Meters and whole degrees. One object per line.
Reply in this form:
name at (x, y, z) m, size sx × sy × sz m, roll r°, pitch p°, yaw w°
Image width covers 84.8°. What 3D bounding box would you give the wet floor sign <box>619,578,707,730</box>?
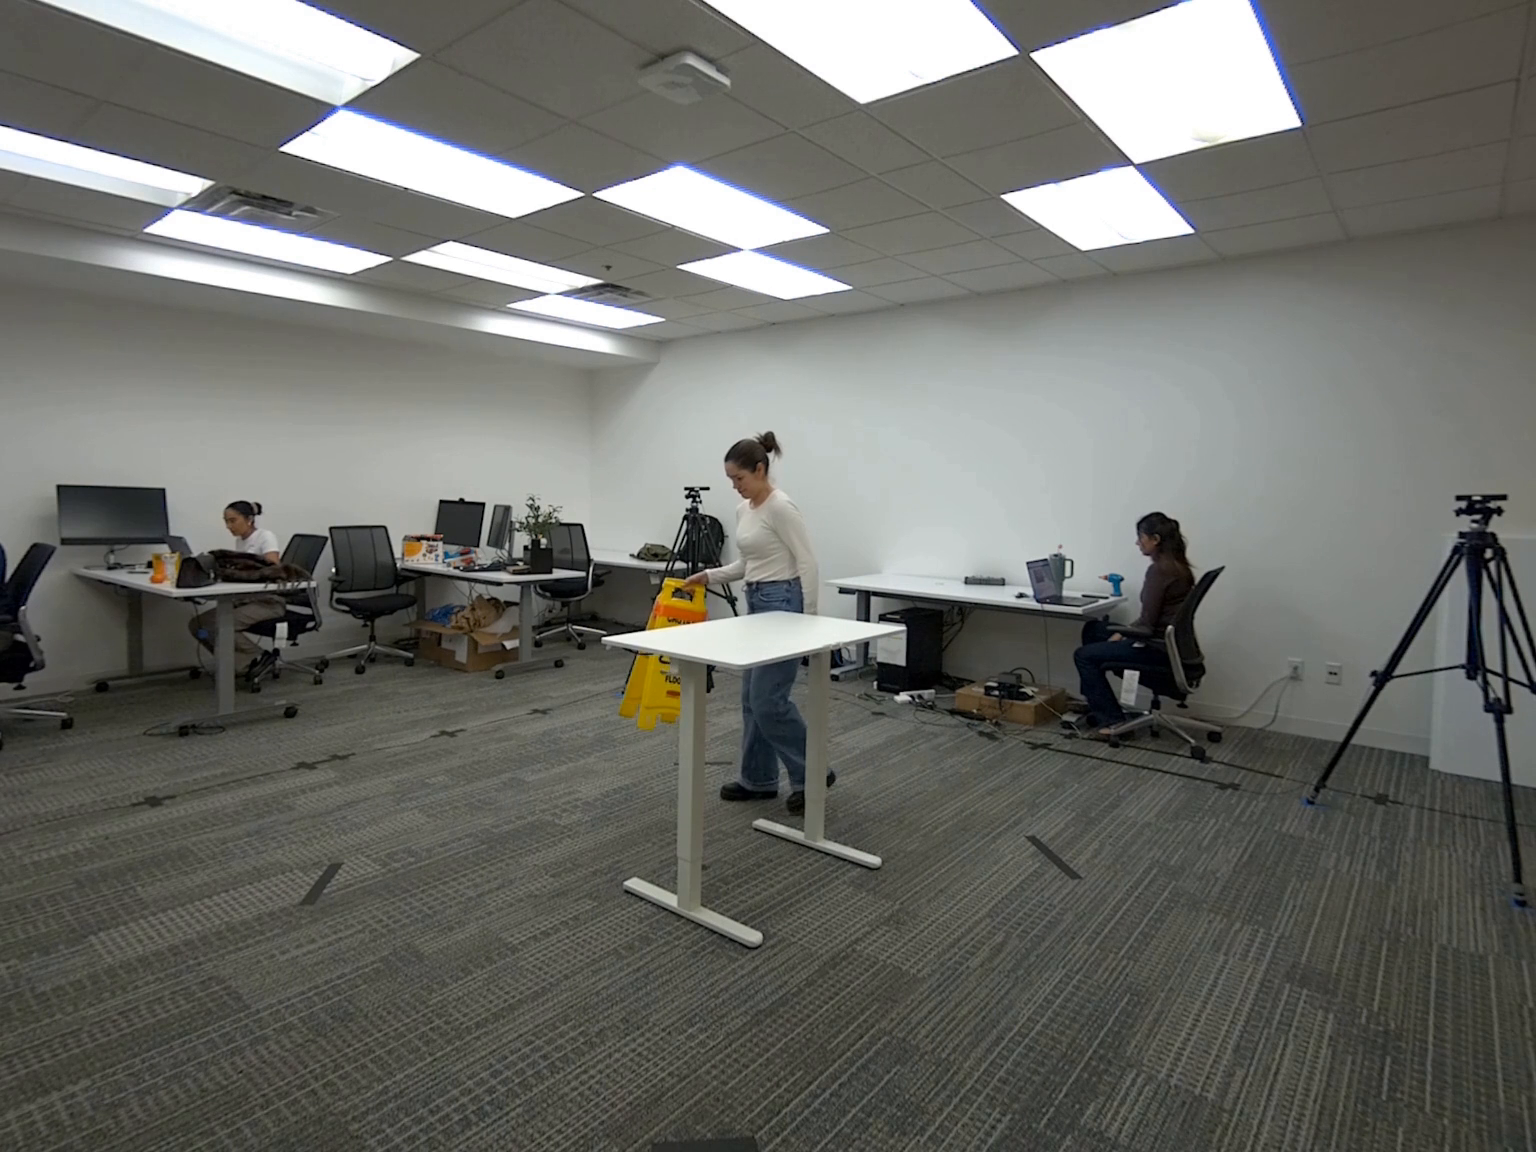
wet floor sign at (-0.436, 0.338, 3.784) m, size 0.274 × 0.648 × 0.297 m, roll 12°, pitch -4°, yaw -27°
